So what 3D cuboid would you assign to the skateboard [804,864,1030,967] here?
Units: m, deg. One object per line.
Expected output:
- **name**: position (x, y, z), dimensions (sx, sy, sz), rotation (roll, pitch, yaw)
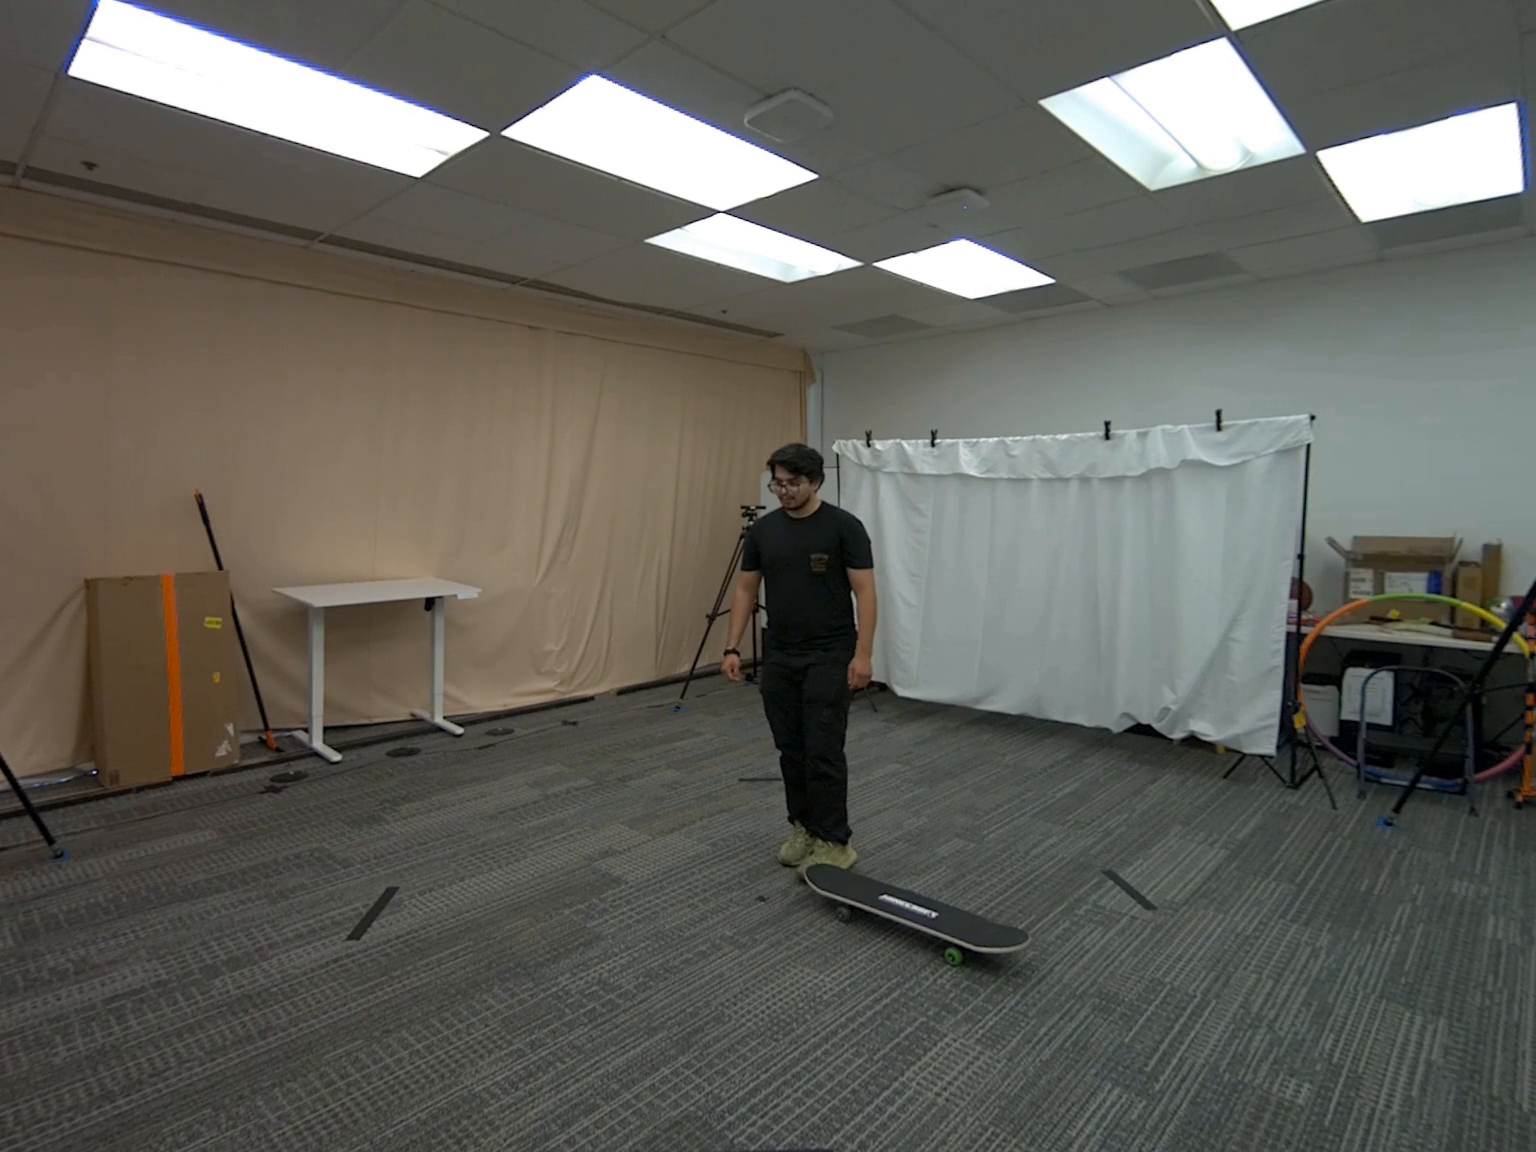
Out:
- **skateboard**: position (0.461, 1.107, 2.739), dimensions (0.811, 0.110, 0.187), rotation (3, 5, 40)
